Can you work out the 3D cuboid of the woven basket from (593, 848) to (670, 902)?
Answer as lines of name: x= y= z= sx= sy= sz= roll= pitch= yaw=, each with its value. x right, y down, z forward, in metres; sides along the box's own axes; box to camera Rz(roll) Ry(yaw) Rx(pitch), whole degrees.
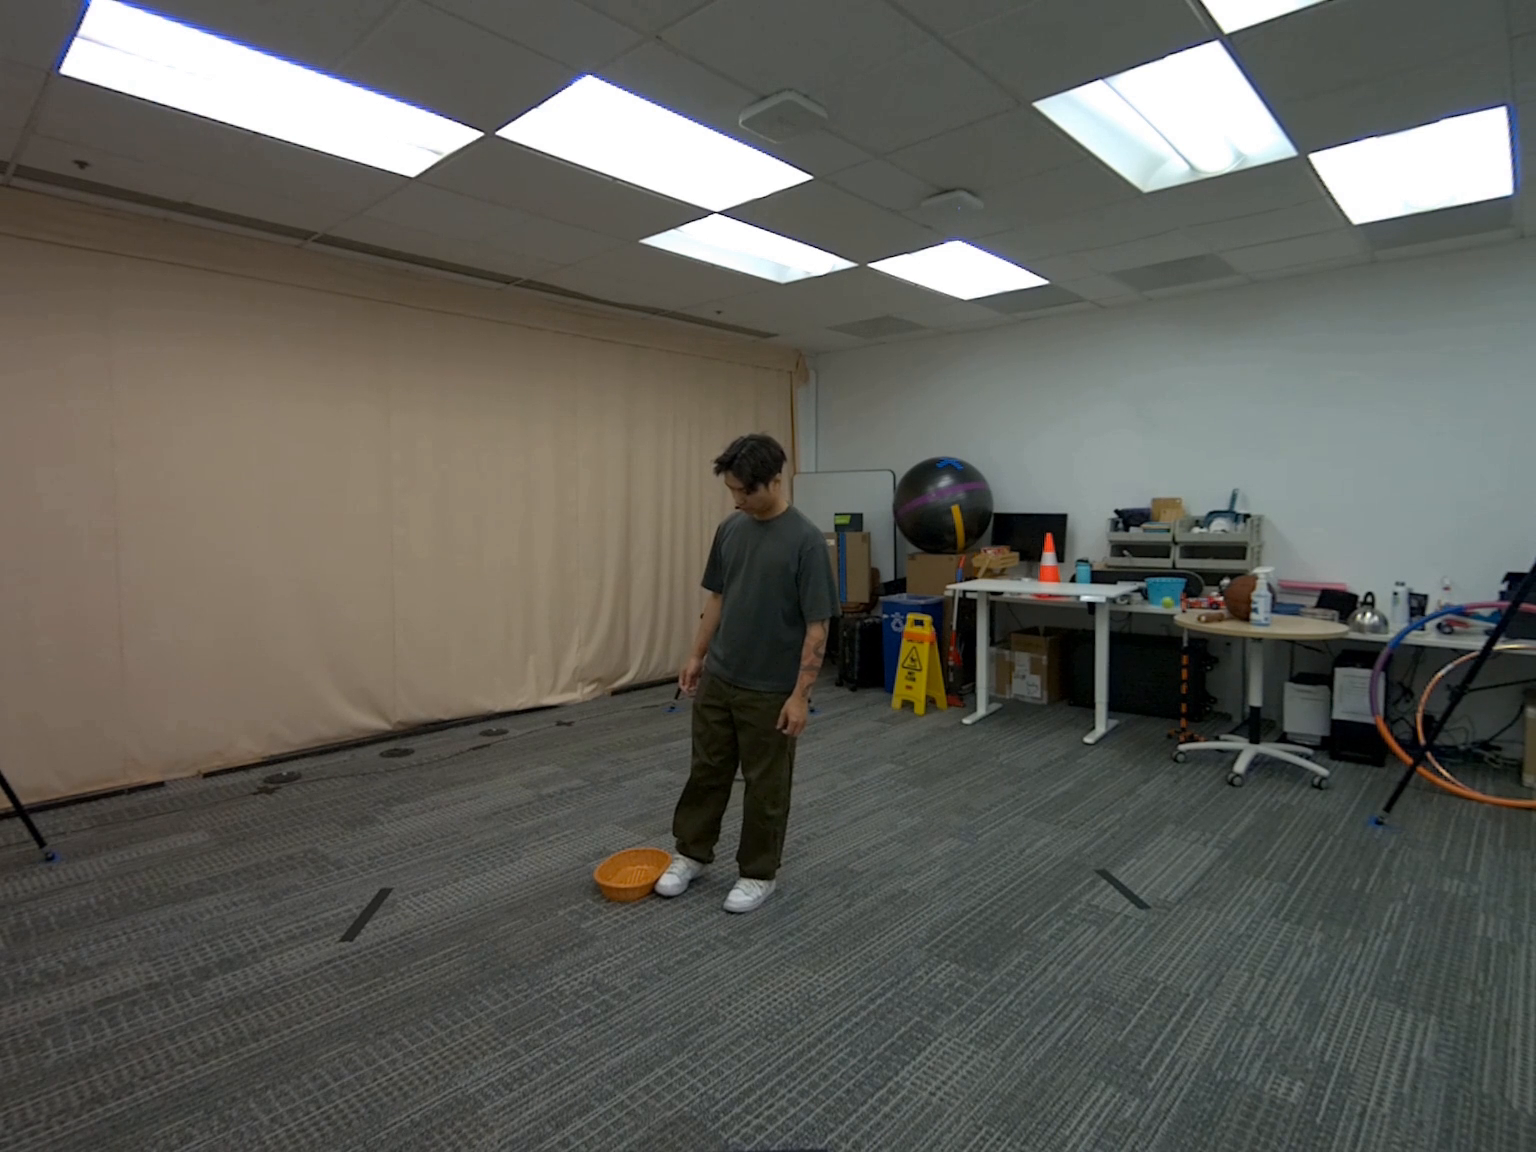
woven basket: x=-0.497 y=1.102 z=3.104 sx=0.258 sy=0.073 sz=0.343 roll=1 pitch=5 yaw=22
